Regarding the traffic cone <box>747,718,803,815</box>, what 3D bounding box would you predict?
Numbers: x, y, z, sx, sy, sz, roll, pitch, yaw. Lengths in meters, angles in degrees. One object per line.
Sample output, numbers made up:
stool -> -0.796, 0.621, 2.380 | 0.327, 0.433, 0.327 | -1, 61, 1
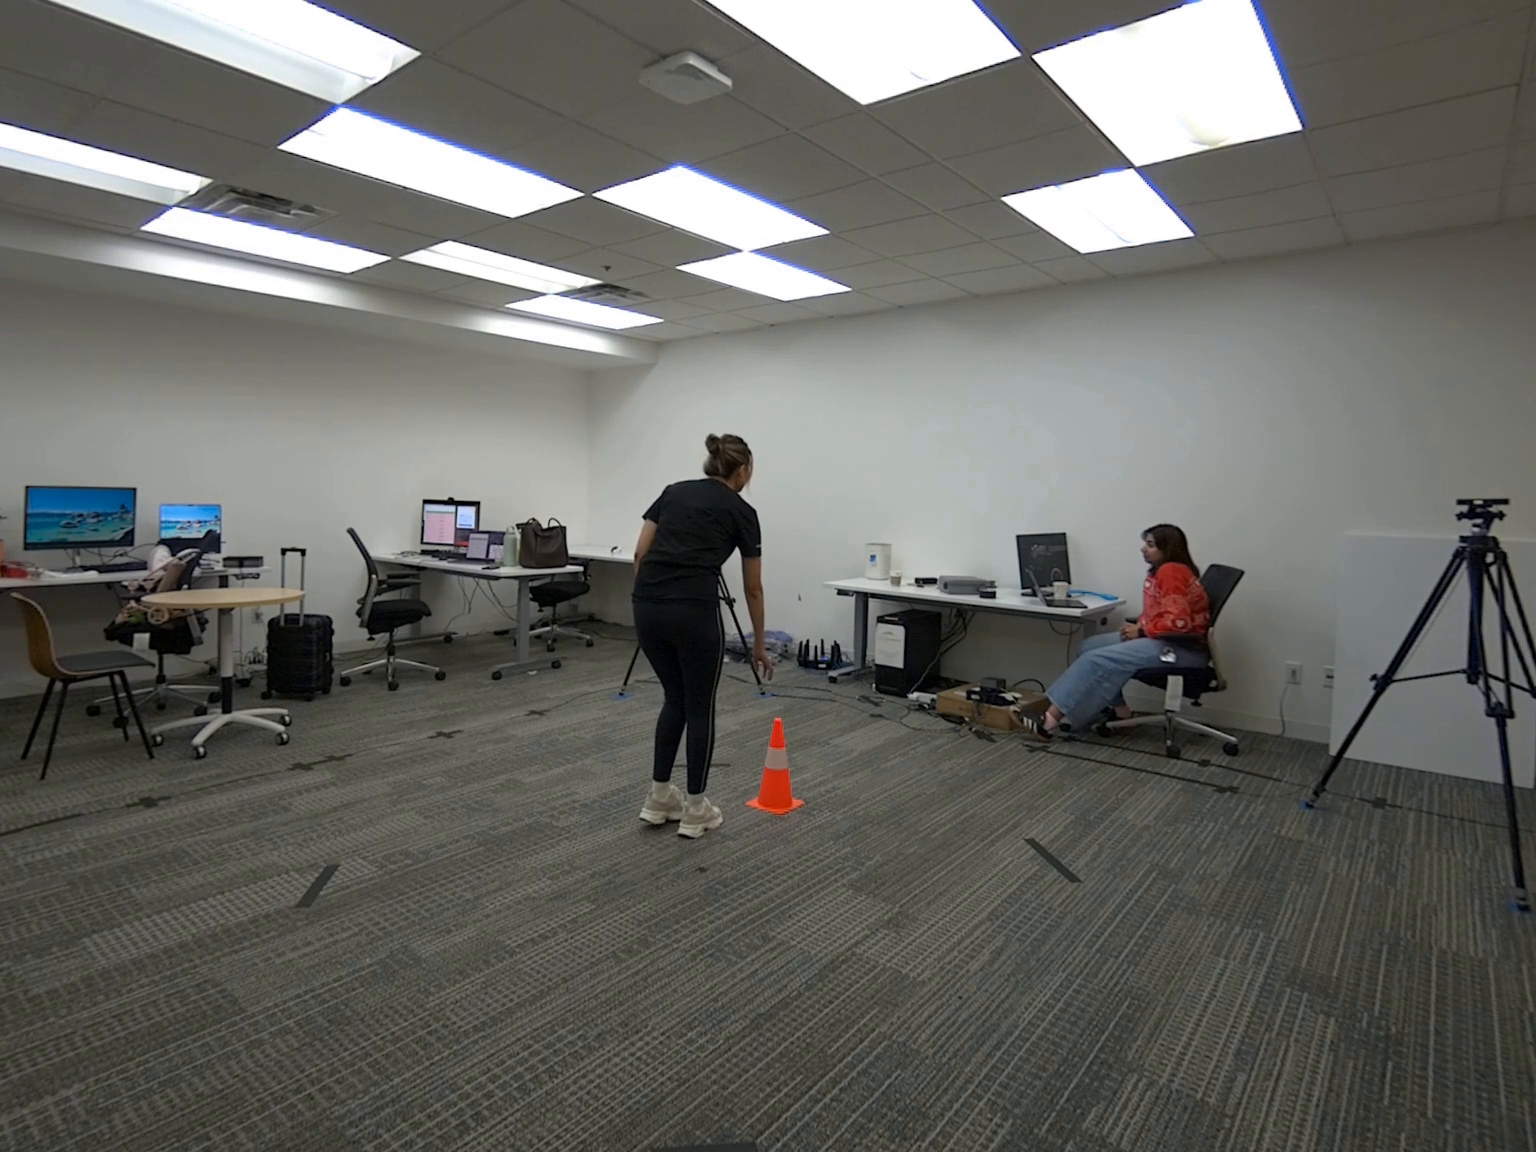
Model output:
traffic cone -> 0.020, 0.821, 3.782 | 0.210, 0.382, 0.199 | 2, 5, 38
